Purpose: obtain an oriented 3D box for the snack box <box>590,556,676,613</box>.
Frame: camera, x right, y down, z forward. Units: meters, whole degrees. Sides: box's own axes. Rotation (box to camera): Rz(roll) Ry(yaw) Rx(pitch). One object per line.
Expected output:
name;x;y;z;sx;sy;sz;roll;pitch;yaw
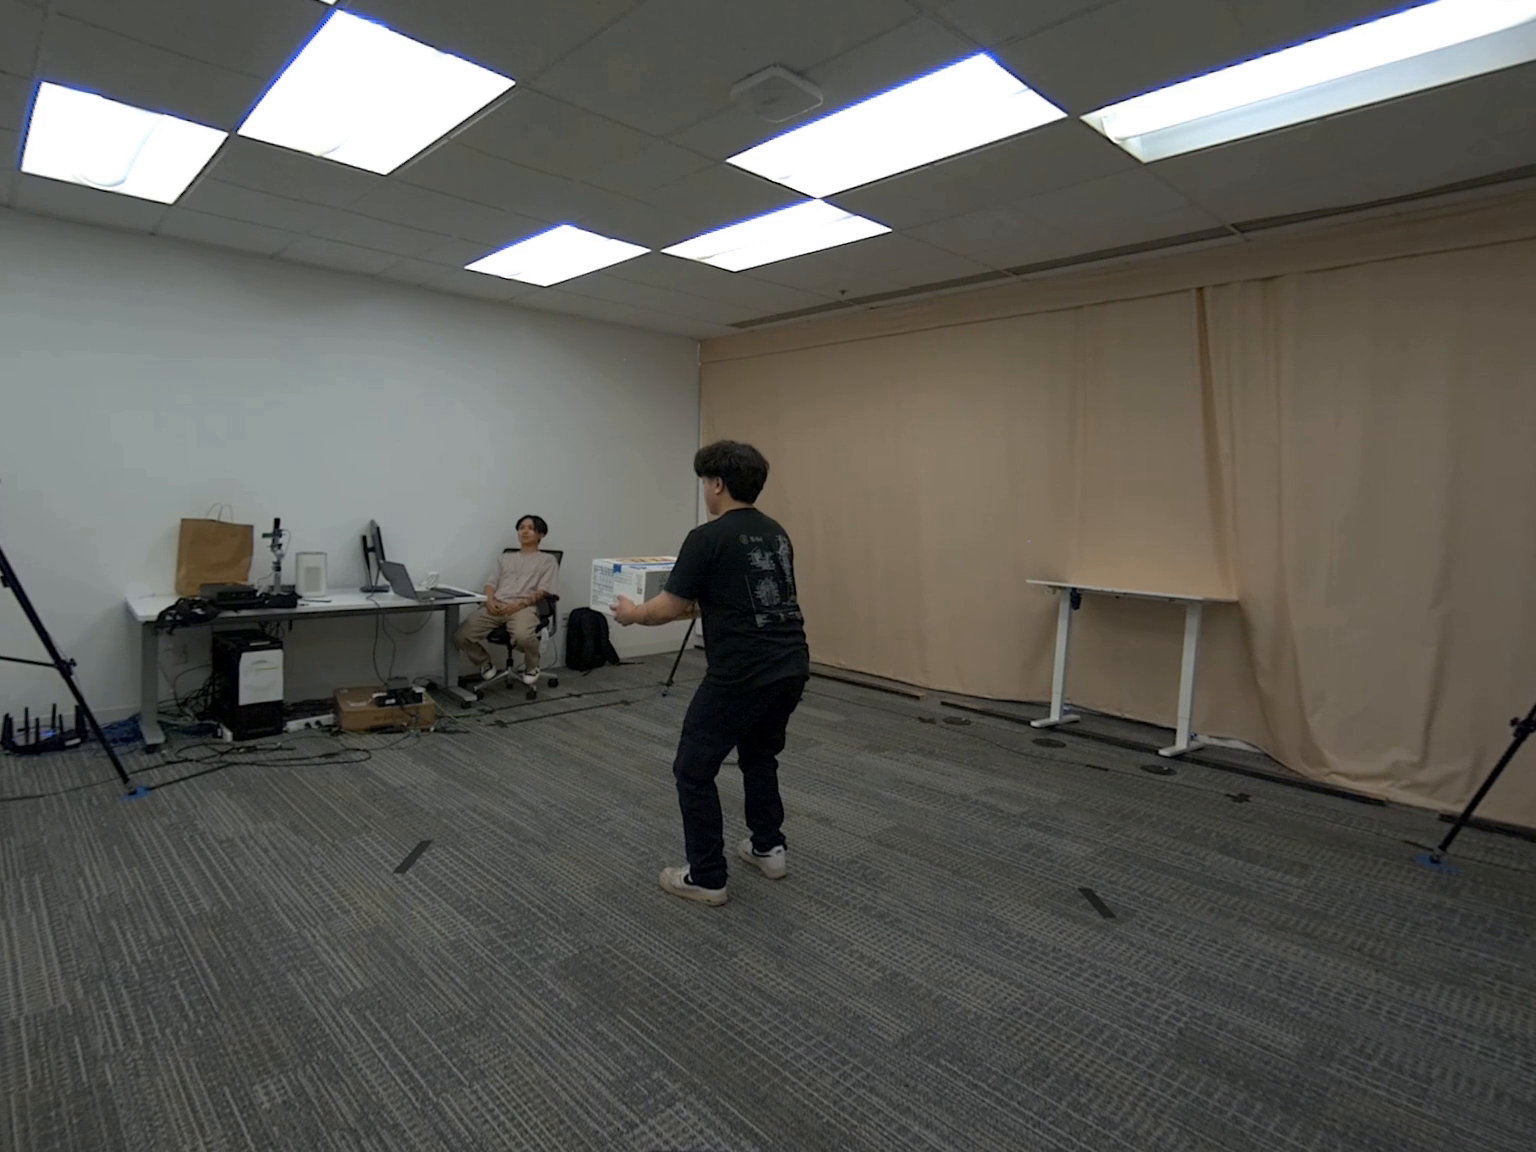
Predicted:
snack box;-0.442;0.050;3.357;0.349;0.205;0.396;10;10;43
